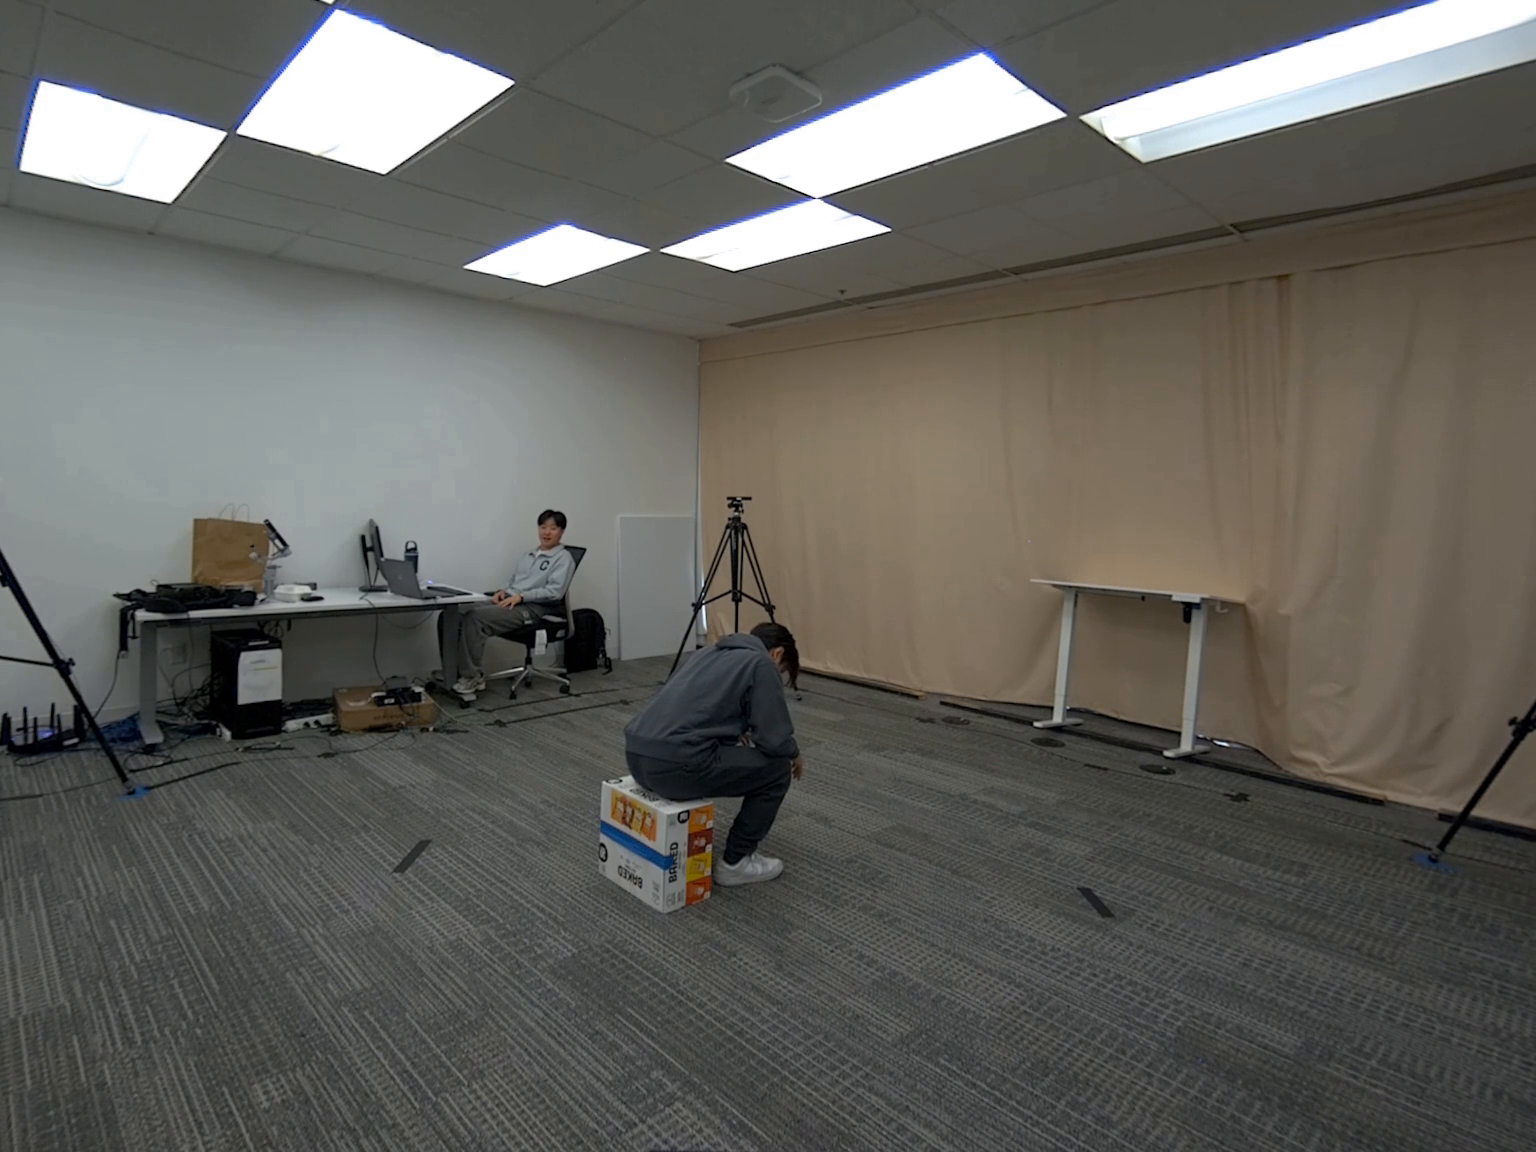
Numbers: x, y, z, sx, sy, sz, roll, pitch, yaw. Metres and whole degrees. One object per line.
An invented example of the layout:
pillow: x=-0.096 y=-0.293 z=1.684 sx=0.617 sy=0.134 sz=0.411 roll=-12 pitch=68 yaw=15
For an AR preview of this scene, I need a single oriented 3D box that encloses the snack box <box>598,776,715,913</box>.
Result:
snack box: x=-0.413 y=0.939 z=3.007 sx=0.201 sy=0.340 sz=0.415 roll=0 pitch=4 yaw=-43
